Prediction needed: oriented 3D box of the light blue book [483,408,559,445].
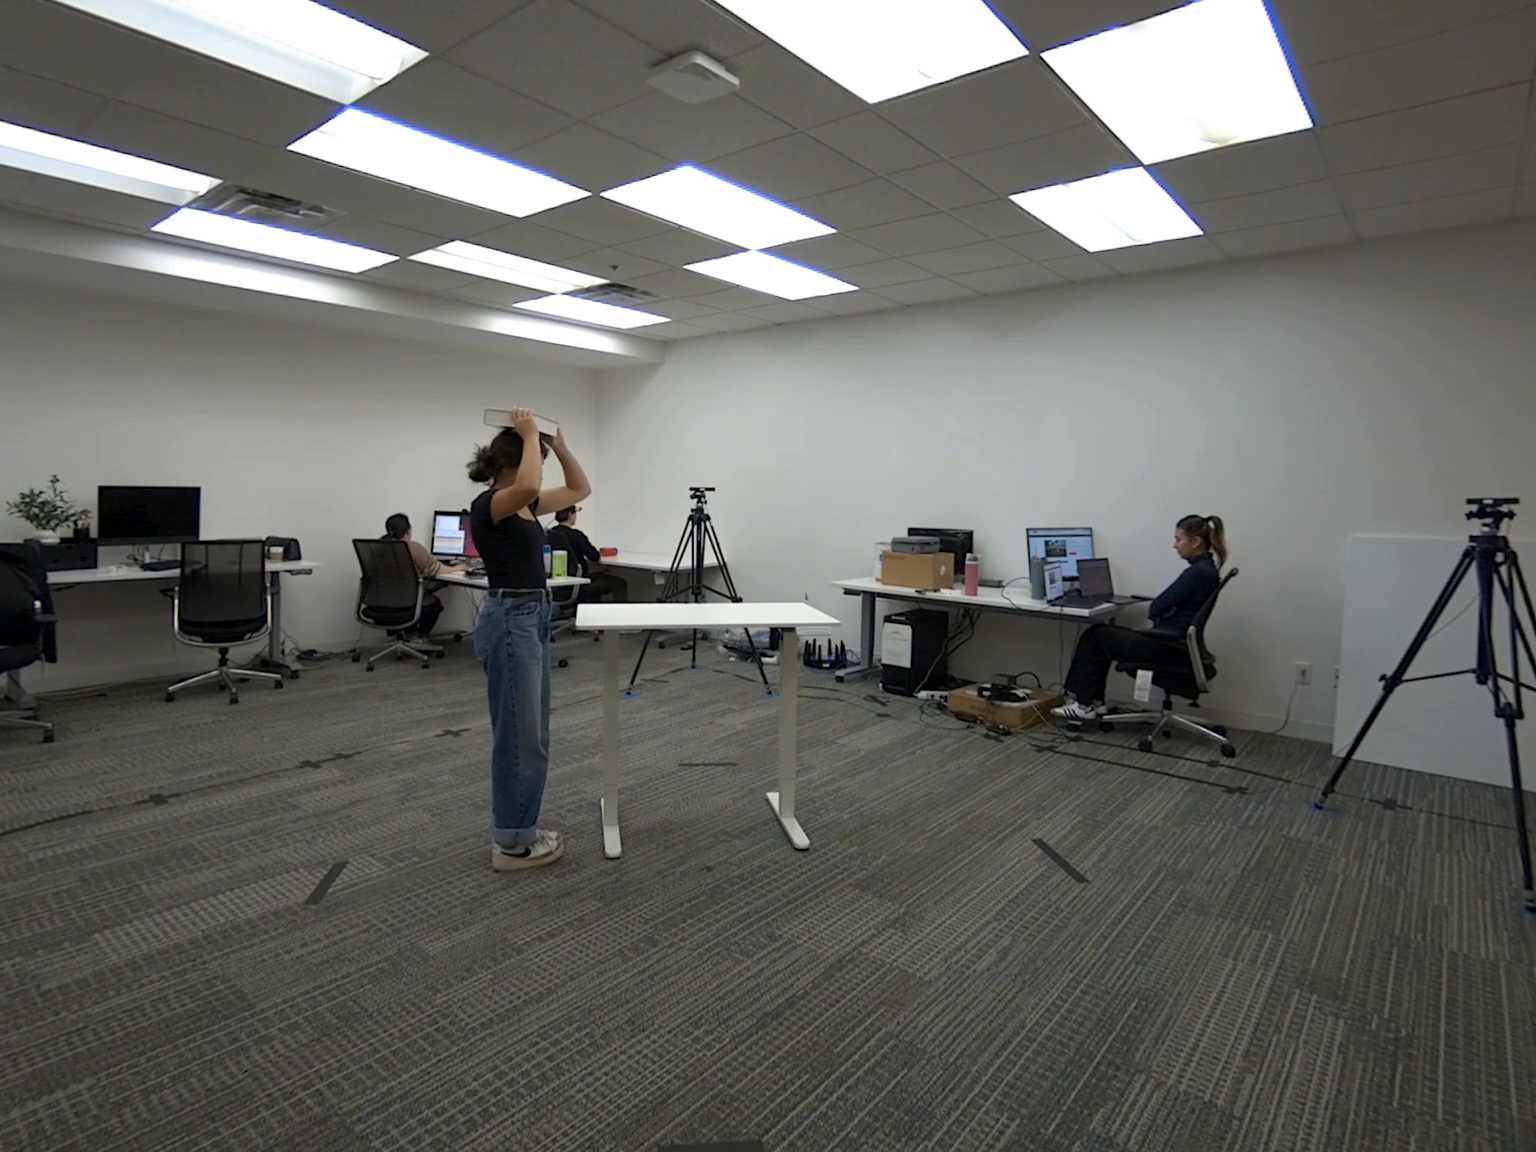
[{"bbox_3d":[-0.917,-0.566,3.127,0.193,0.059,0.260,4,3,5],"label":"light blue book"}]
